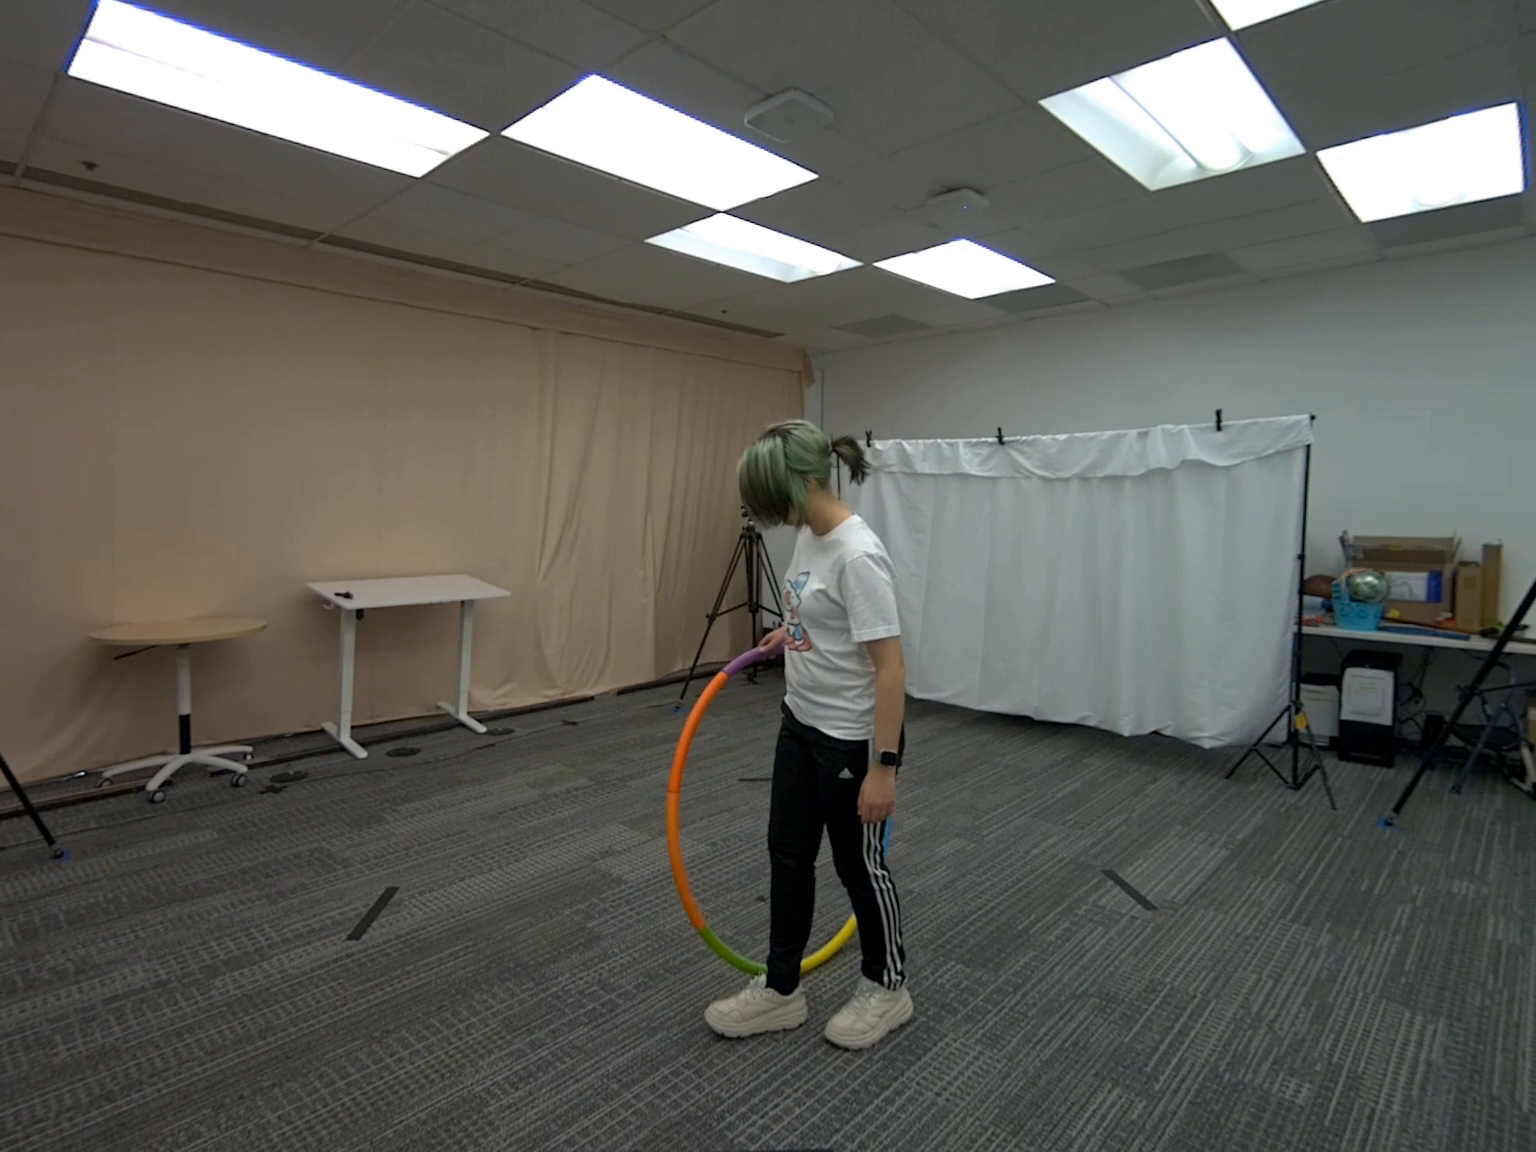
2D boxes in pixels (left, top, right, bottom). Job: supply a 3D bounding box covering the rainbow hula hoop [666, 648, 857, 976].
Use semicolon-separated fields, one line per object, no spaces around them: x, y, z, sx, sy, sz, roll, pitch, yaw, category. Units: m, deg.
0.083;0.696;2.569;0.948;0.981;0.036;-3;-5;-44;rainbow hula hoop
